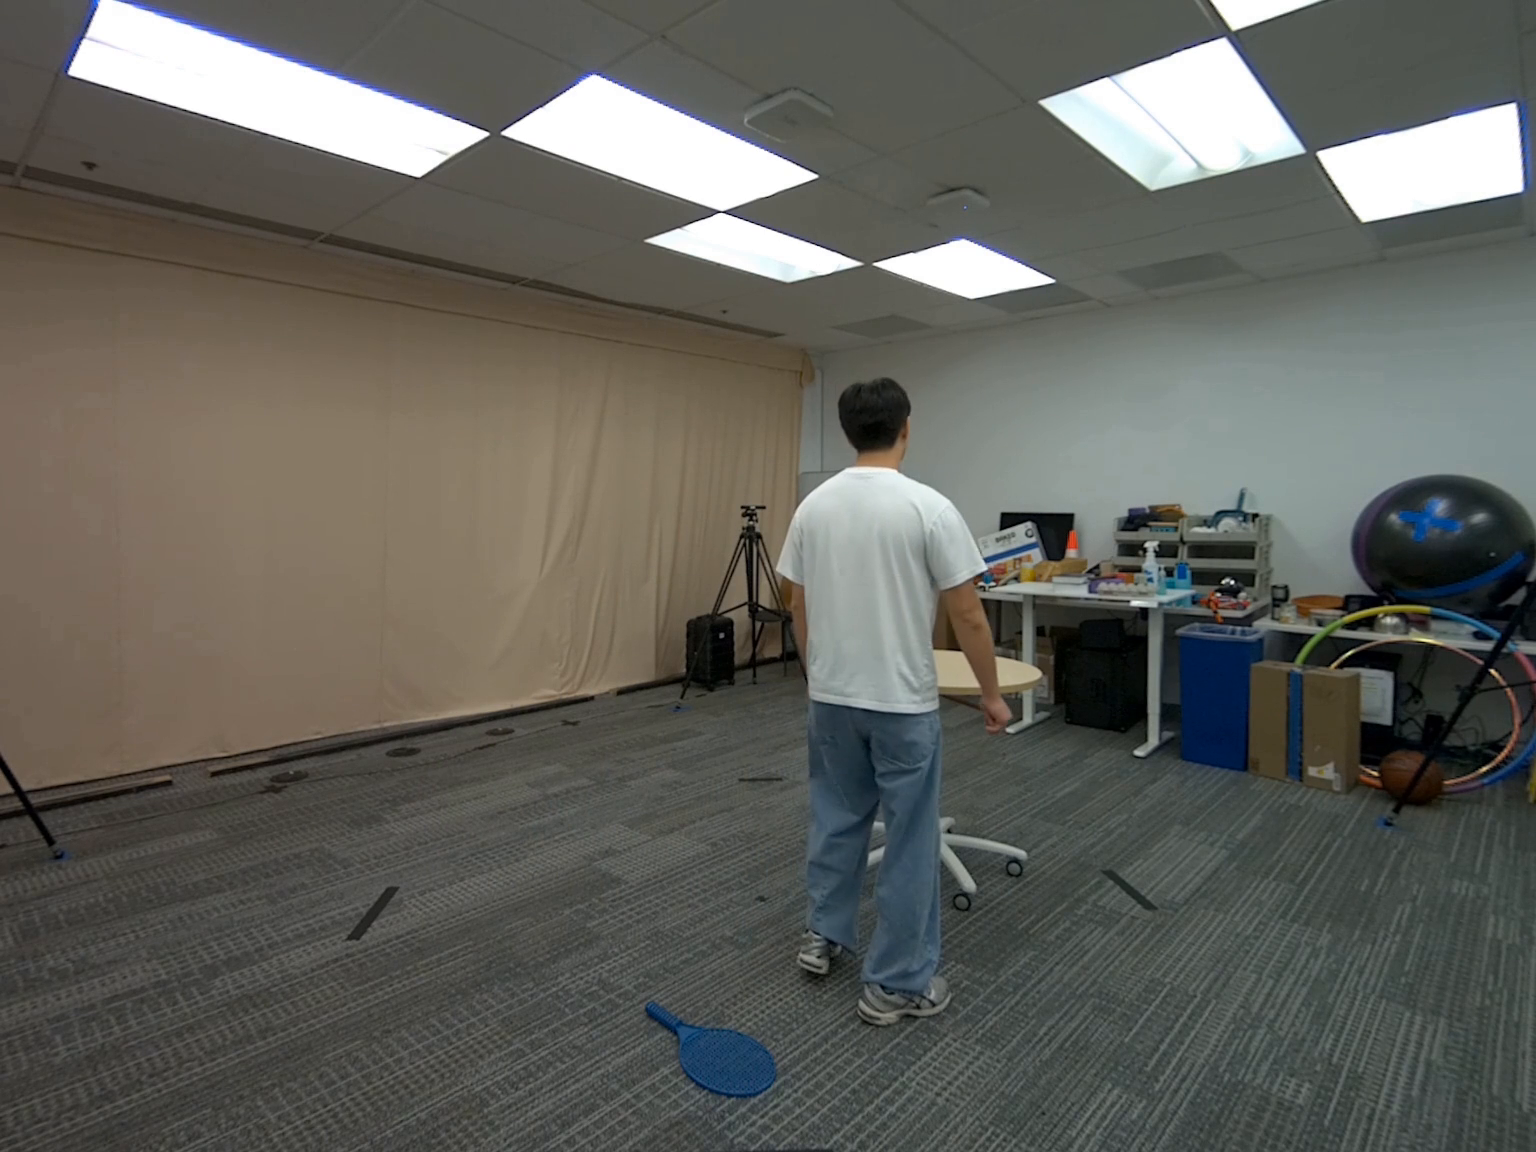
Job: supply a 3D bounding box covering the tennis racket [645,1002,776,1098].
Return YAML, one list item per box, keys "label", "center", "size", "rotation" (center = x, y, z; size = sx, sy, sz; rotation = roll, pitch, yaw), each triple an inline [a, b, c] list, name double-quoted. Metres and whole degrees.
- label: "tennis racket"
  center: [-0.161, 1.204, 2.159]
  size: [0.448, 0.031, 0.207]
  rotation: [6, 7, 44]
